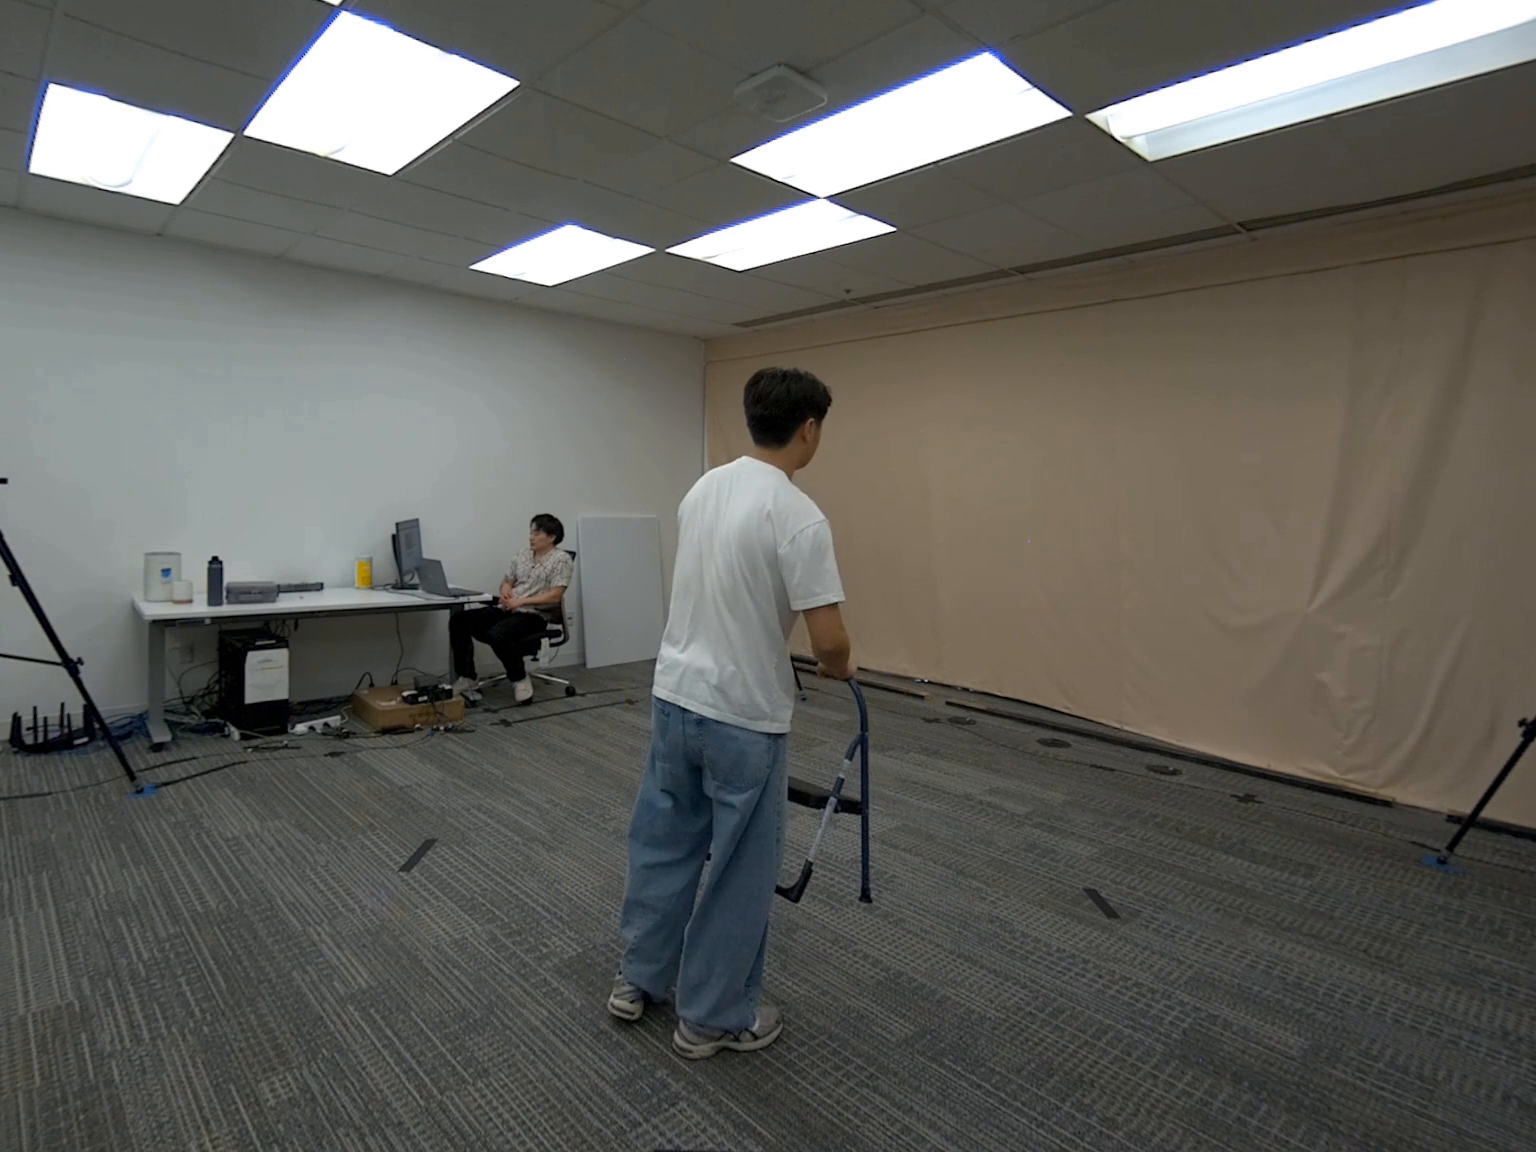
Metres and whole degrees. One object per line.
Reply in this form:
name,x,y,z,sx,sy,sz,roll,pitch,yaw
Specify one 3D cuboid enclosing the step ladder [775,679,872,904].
step ladder,0.099,0.556,2.387,0.442,0.609,0.339,5,-11,43
